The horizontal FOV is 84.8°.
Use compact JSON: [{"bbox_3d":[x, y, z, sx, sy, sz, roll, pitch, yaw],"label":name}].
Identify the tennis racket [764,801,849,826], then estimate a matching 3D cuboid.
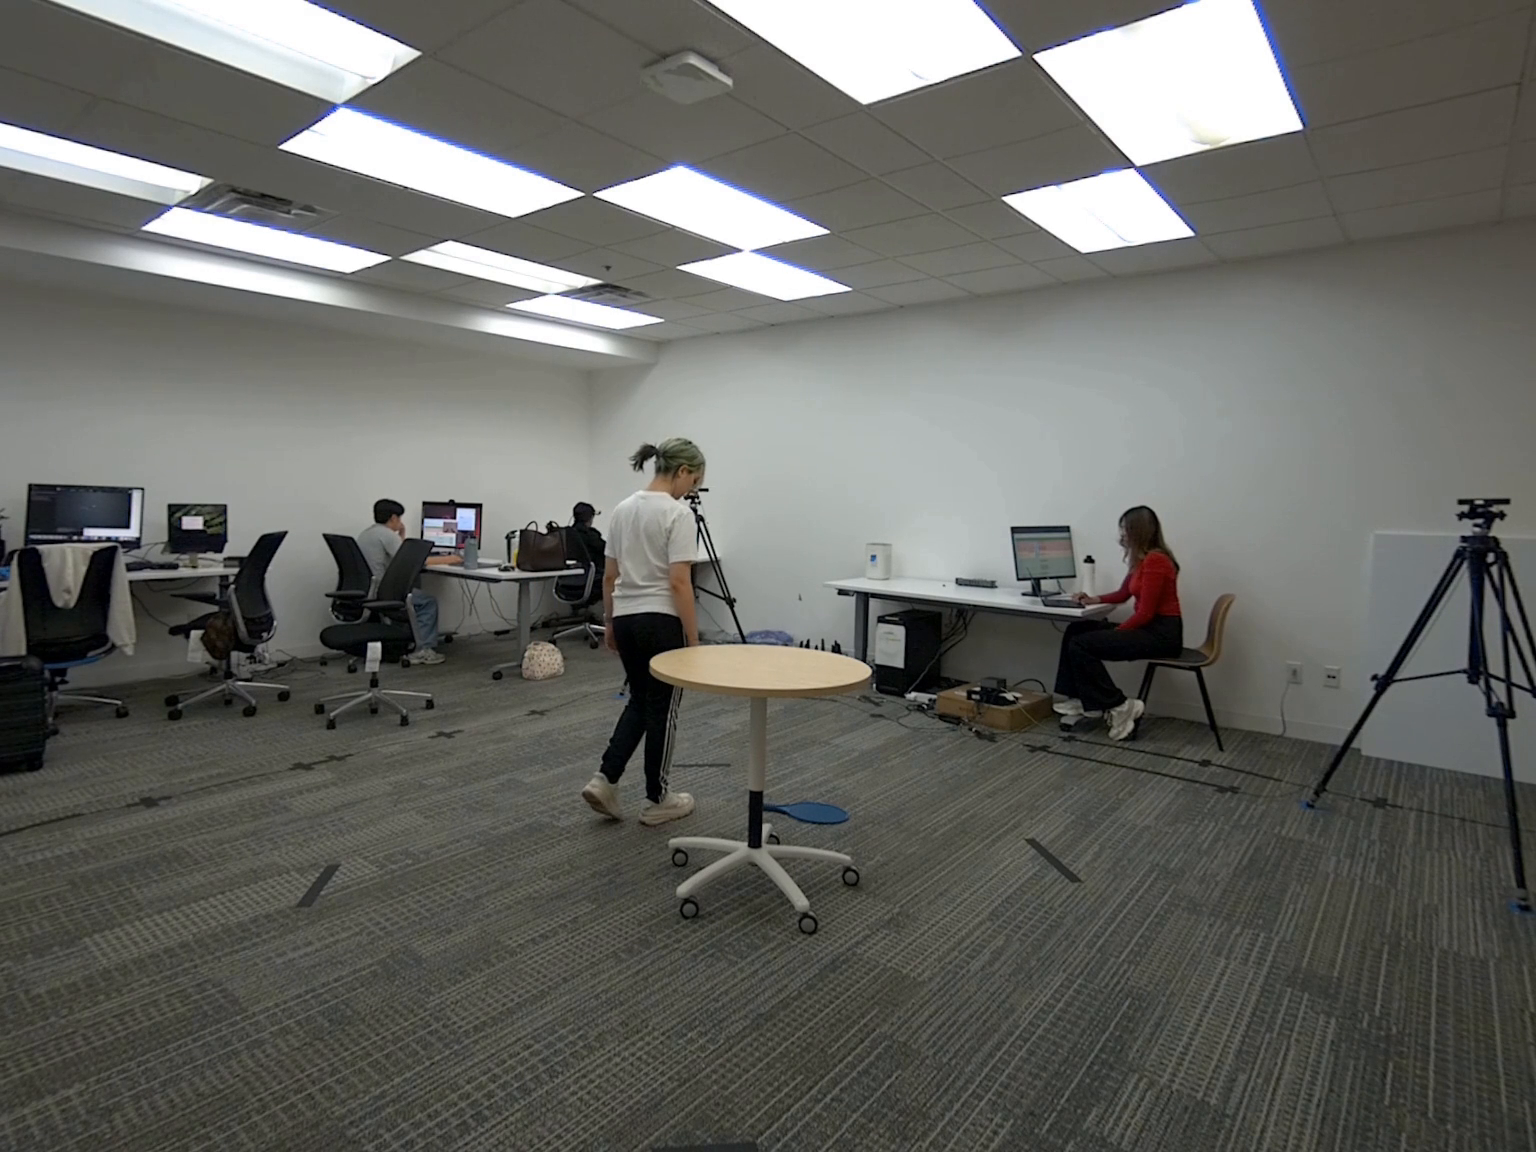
[{"bbox_3d":[0.124,1.008,3.673,0.438,0.031,0.212,3,6,9],"label":"tennis racket"}]
